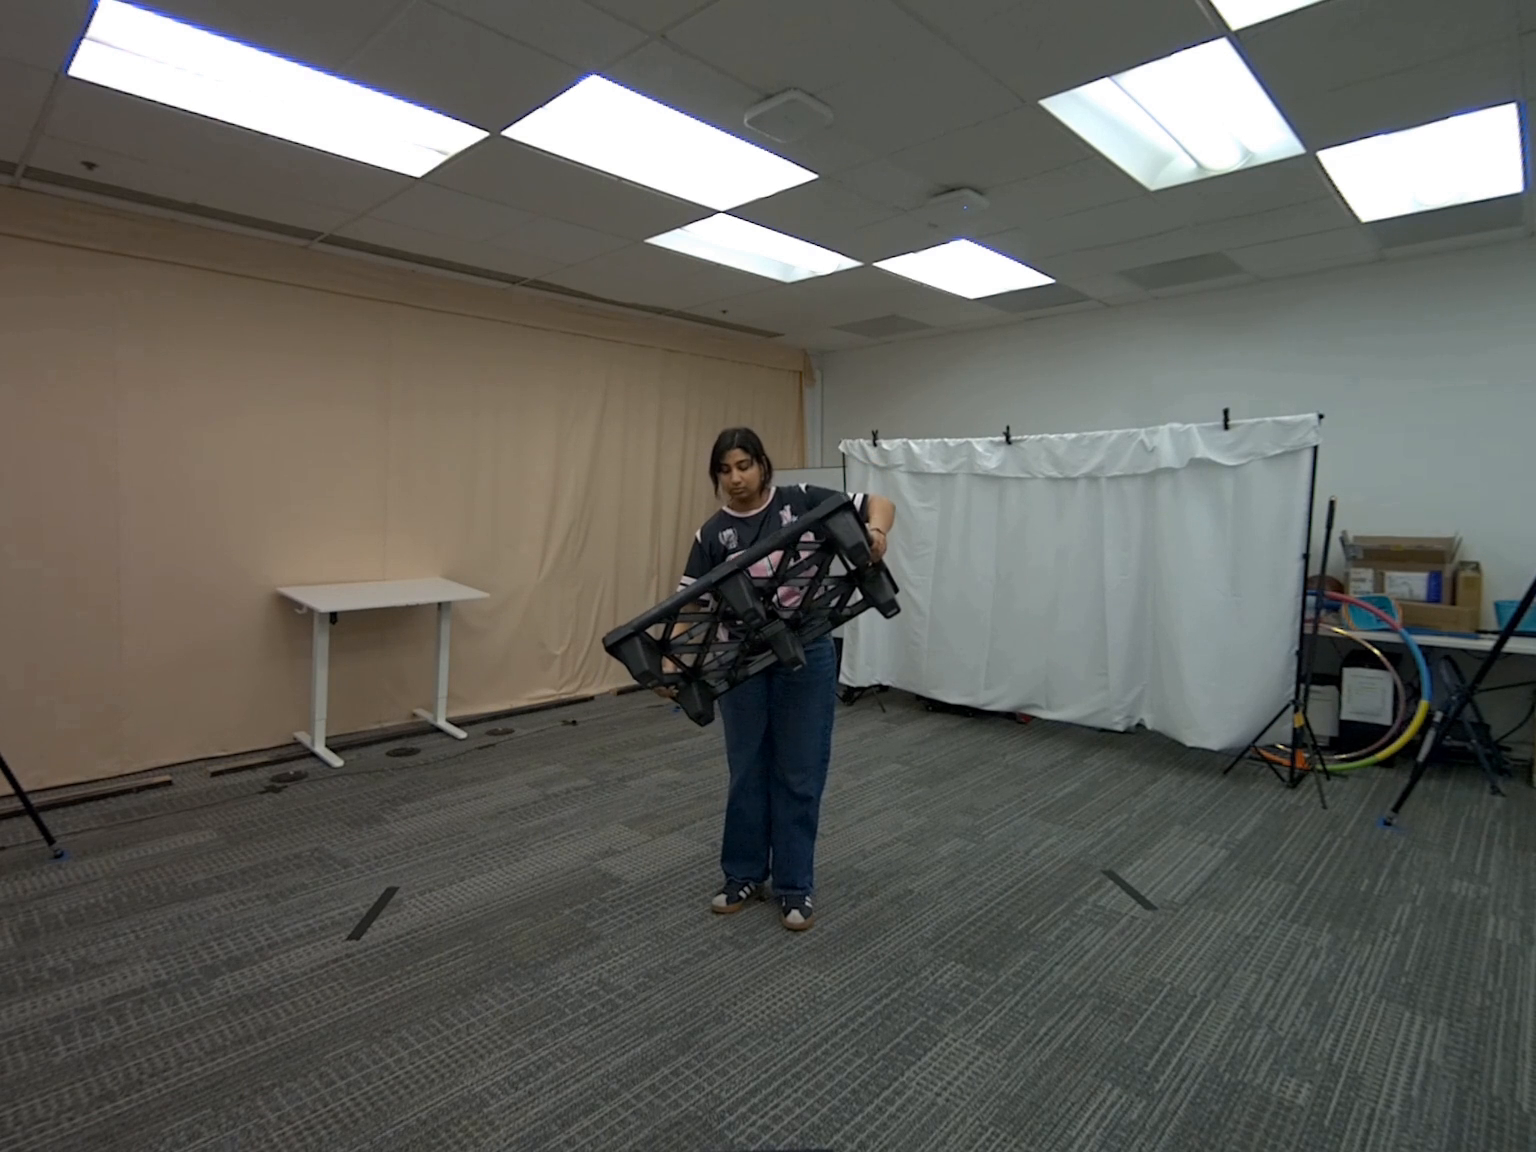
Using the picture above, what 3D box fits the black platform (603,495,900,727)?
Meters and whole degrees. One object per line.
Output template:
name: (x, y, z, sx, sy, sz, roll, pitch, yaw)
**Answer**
black platform: (-0.010, 0.149, 2.513, 0.809, 0.147, 0.585, -31, -35, 7)
